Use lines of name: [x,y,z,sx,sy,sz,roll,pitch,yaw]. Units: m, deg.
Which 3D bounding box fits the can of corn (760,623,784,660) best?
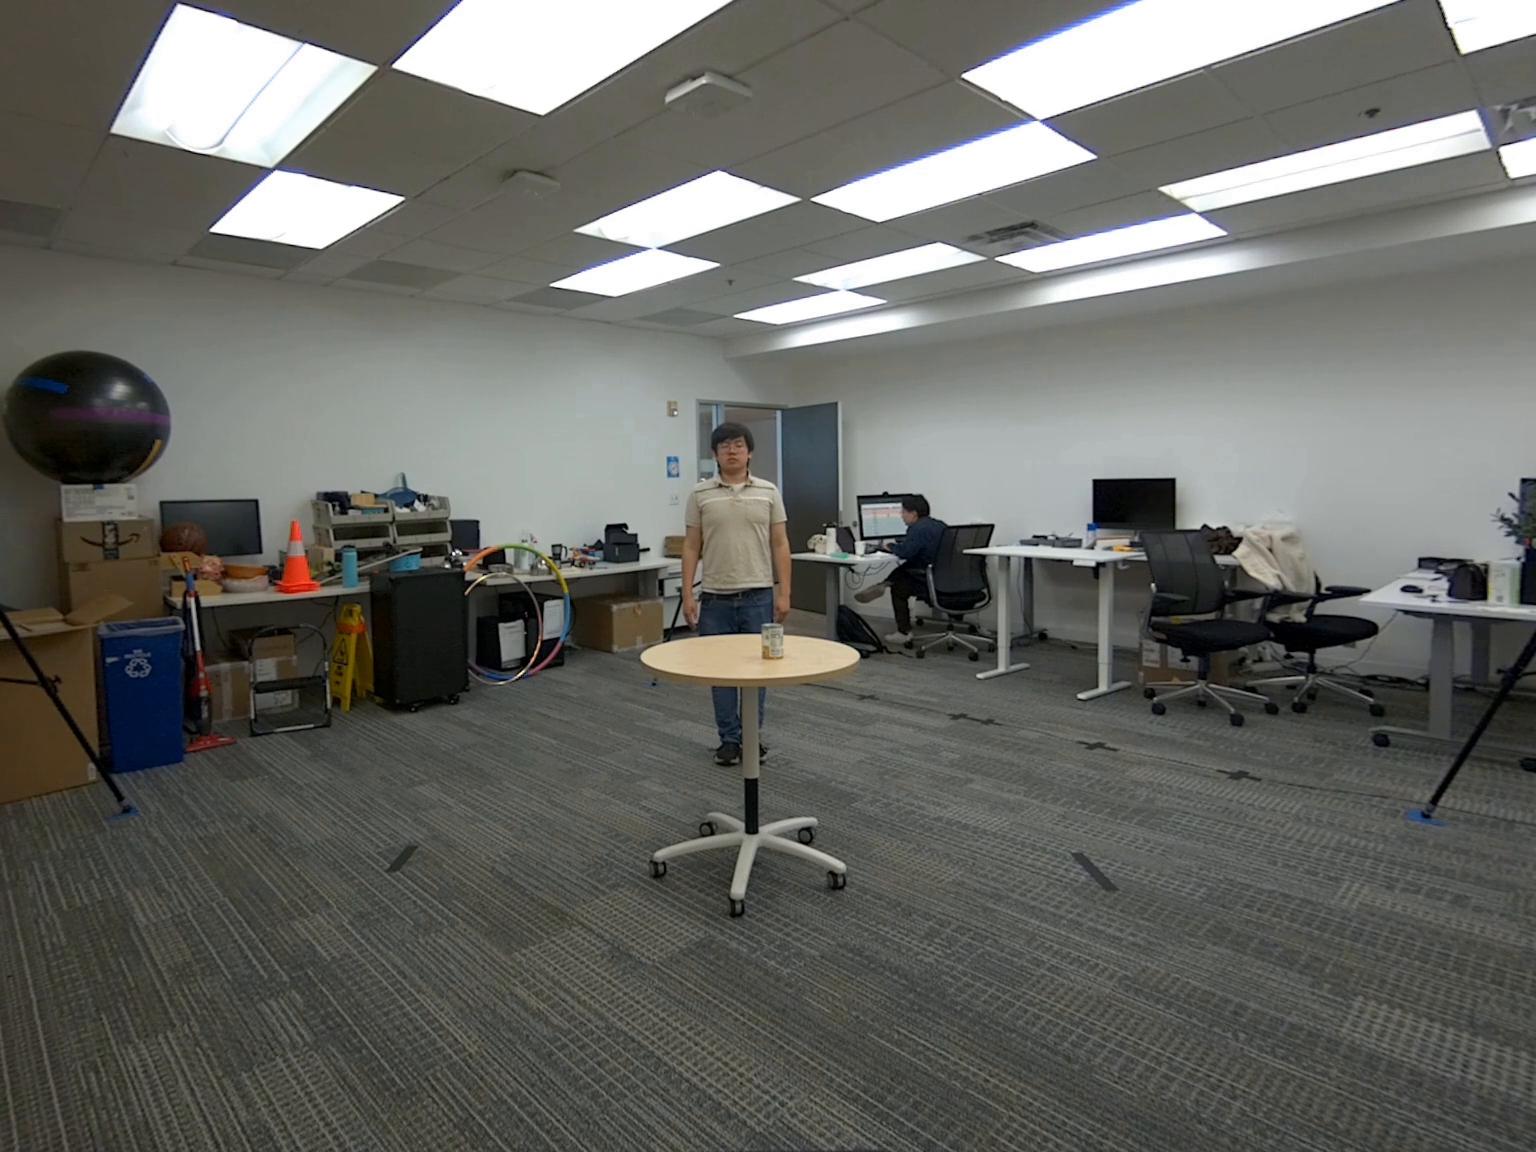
can of corn: [0.017,0.230,2.925,0.074,0.110,0.074,-3,4,-1]
